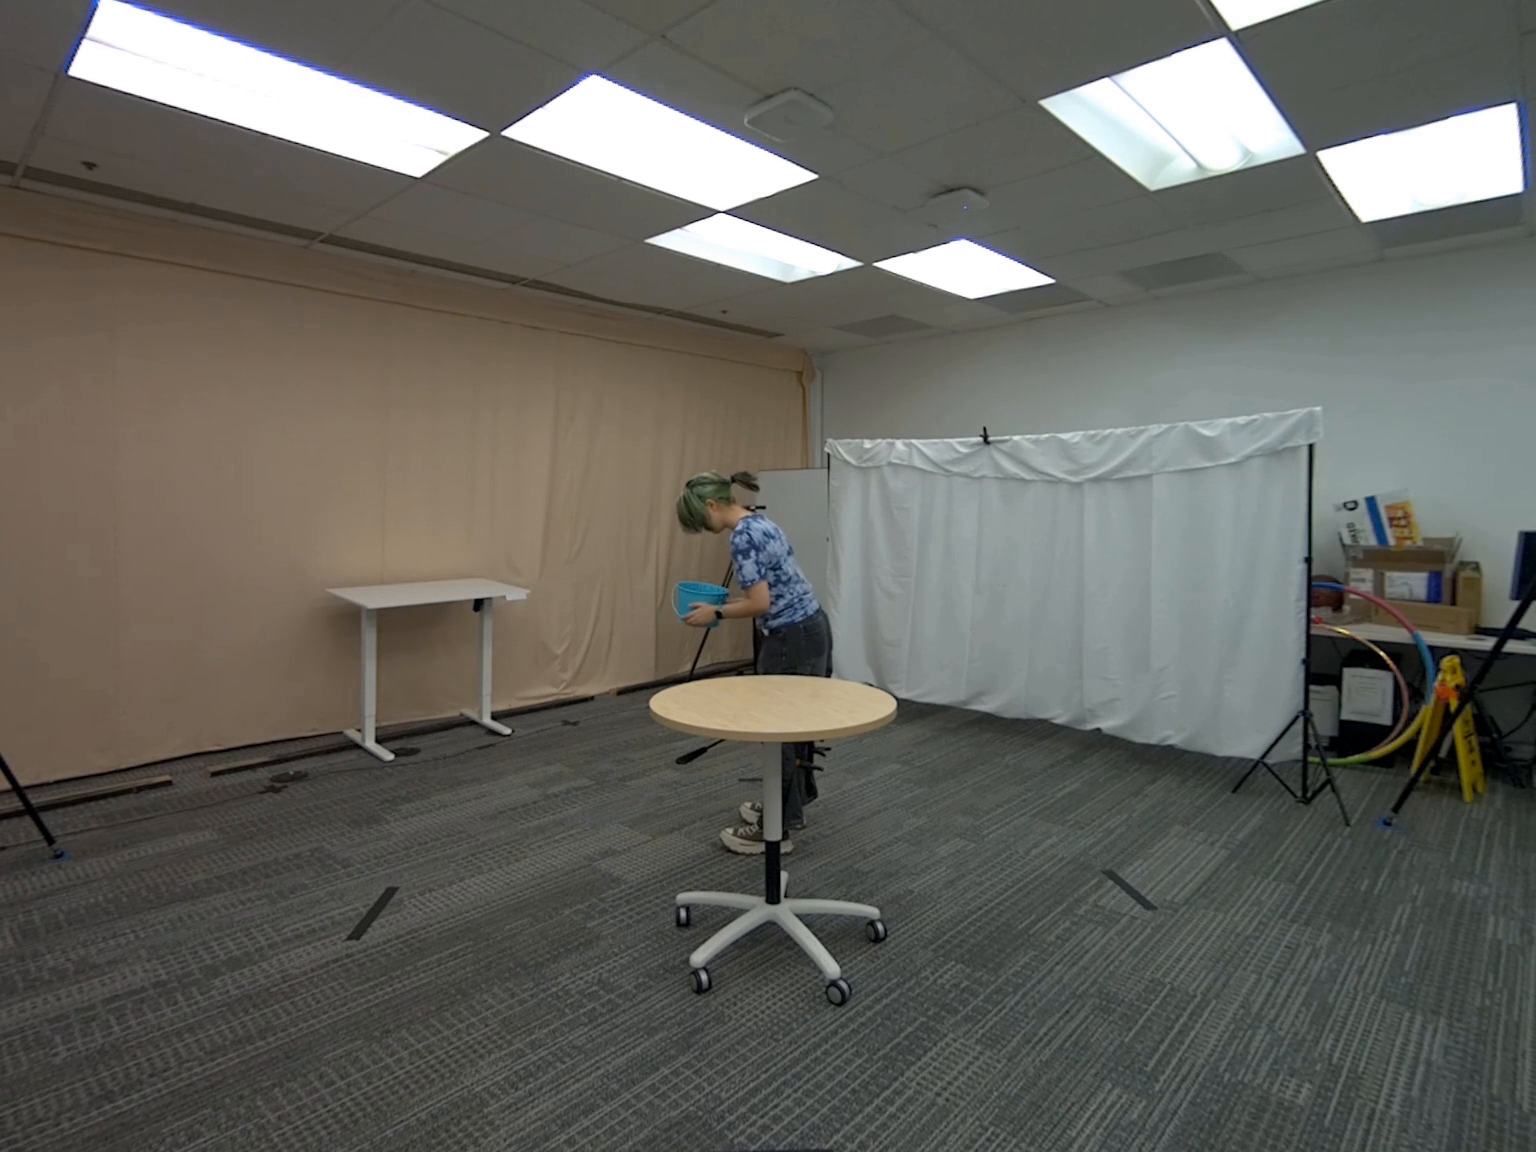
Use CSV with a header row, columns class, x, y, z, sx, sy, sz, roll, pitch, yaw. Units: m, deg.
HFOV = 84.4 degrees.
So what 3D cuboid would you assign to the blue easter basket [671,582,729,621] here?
class,x,y,z,sx,sy,sz,roll,pitch,yaw
blue easter basket,-0.288,0.128,3.596,0.243,0.155,0.245,7,9,-3
